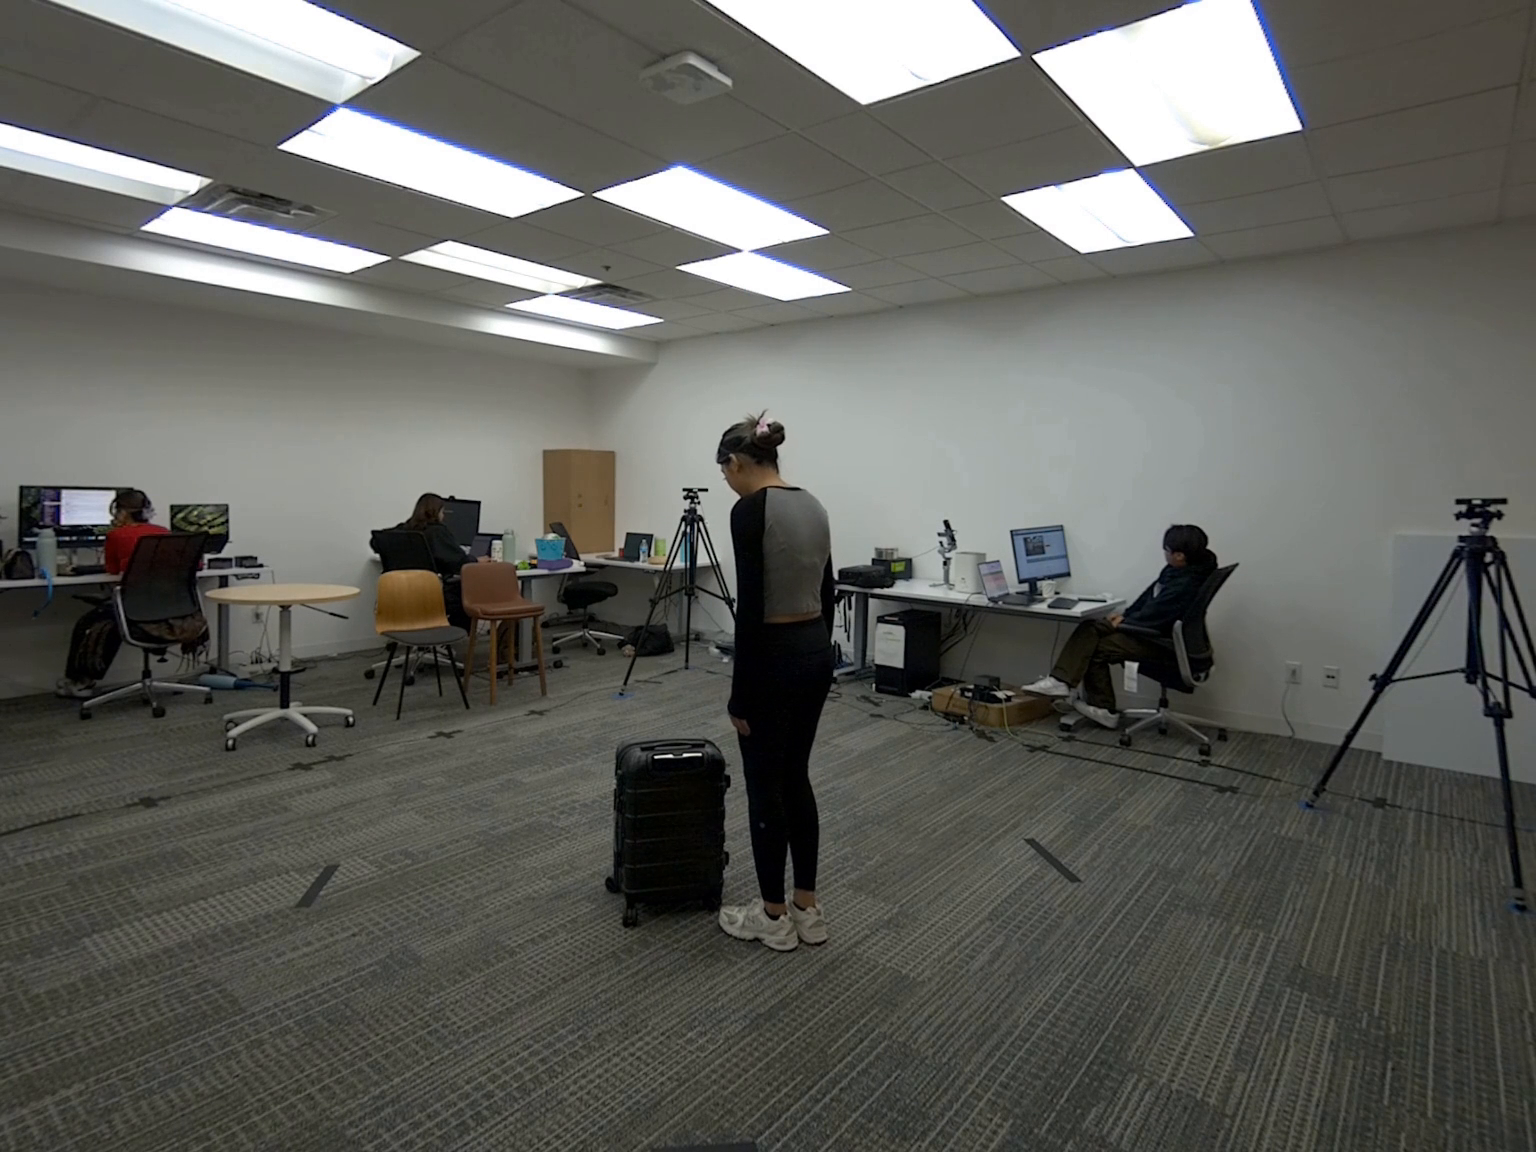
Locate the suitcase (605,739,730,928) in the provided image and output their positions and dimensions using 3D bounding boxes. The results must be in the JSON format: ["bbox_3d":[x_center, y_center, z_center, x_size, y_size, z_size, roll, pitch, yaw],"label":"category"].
[{"bbox_3d":[-0.344,0.813,2.855,0.369,0.548,0.253,0,3,-17],"label":"suitcase"}]
